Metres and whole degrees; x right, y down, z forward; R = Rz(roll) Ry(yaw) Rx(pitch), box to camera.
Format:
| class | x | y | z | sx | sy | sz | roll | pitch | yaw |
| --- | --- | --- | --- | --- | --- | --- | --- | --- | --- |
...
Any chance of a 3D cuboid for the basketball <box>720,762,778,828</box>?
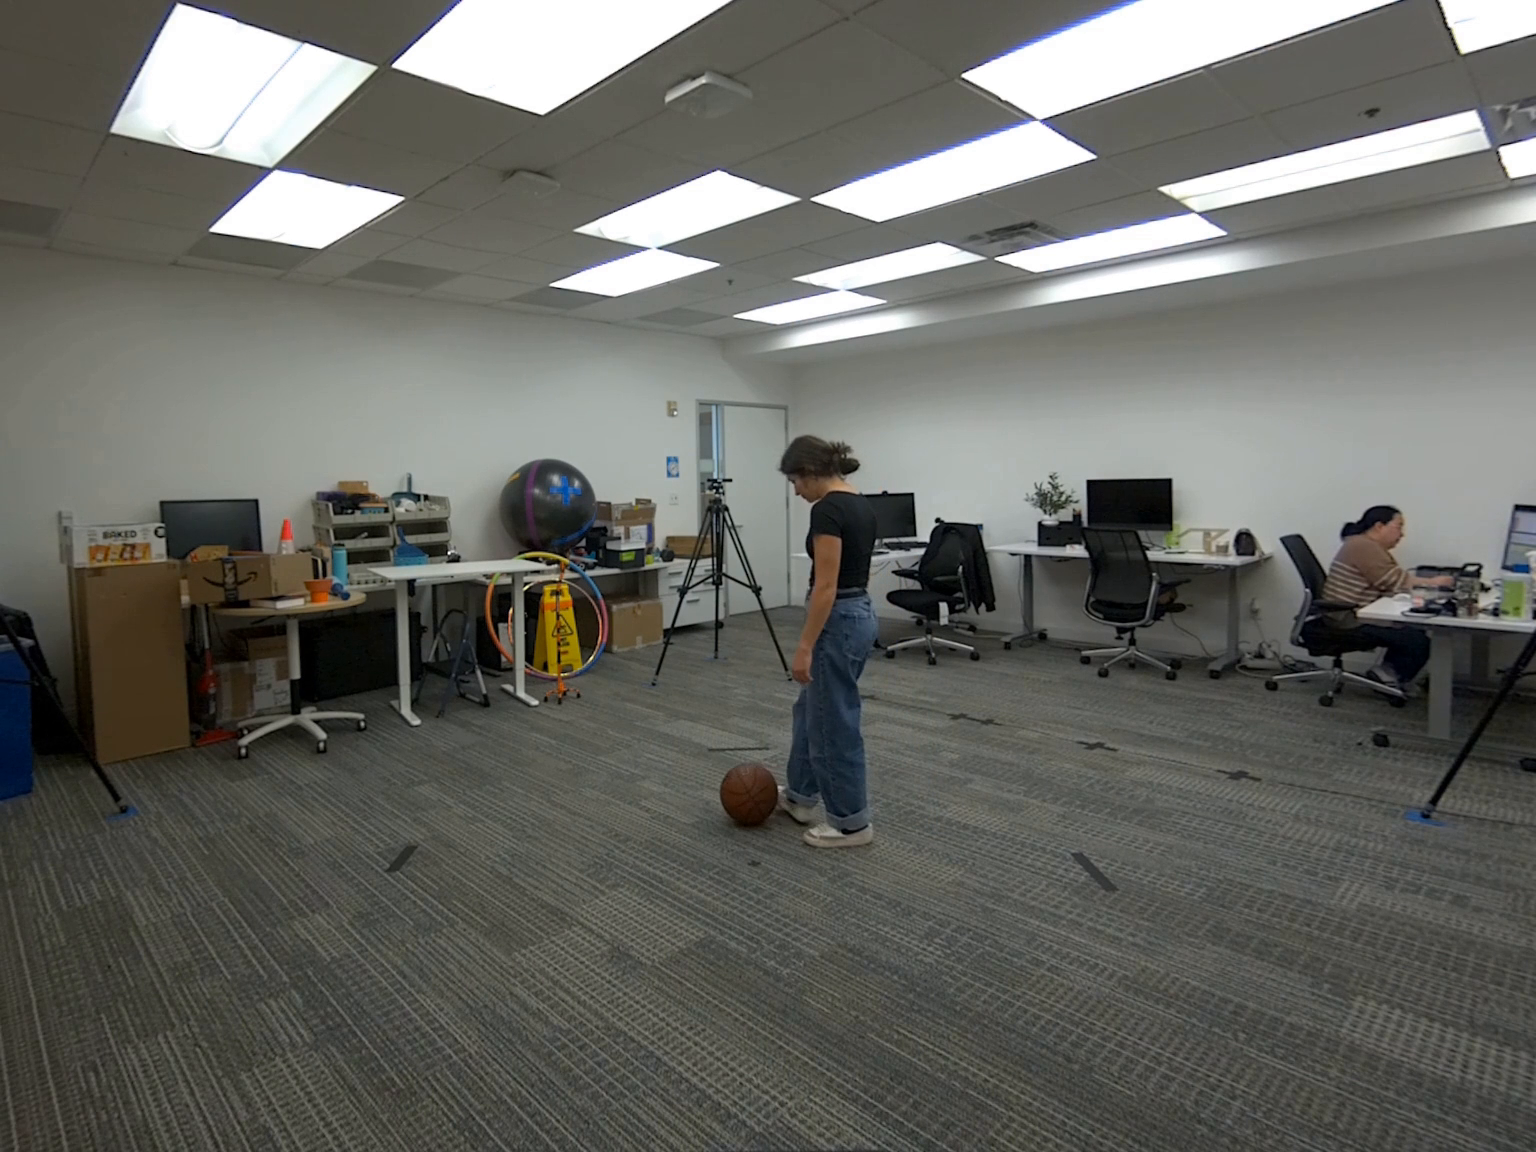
| class | x | y | z | sx | sy | sz | roll | pitch | yaw |
| --- | --- | --- | --- | --- | --- | --- | --- | --- | --- |
| basketball | -0.077 | 0.886 | 3.477 | 0.236 | 0.235 | 0.237 | -1 | 5 | -2 |
